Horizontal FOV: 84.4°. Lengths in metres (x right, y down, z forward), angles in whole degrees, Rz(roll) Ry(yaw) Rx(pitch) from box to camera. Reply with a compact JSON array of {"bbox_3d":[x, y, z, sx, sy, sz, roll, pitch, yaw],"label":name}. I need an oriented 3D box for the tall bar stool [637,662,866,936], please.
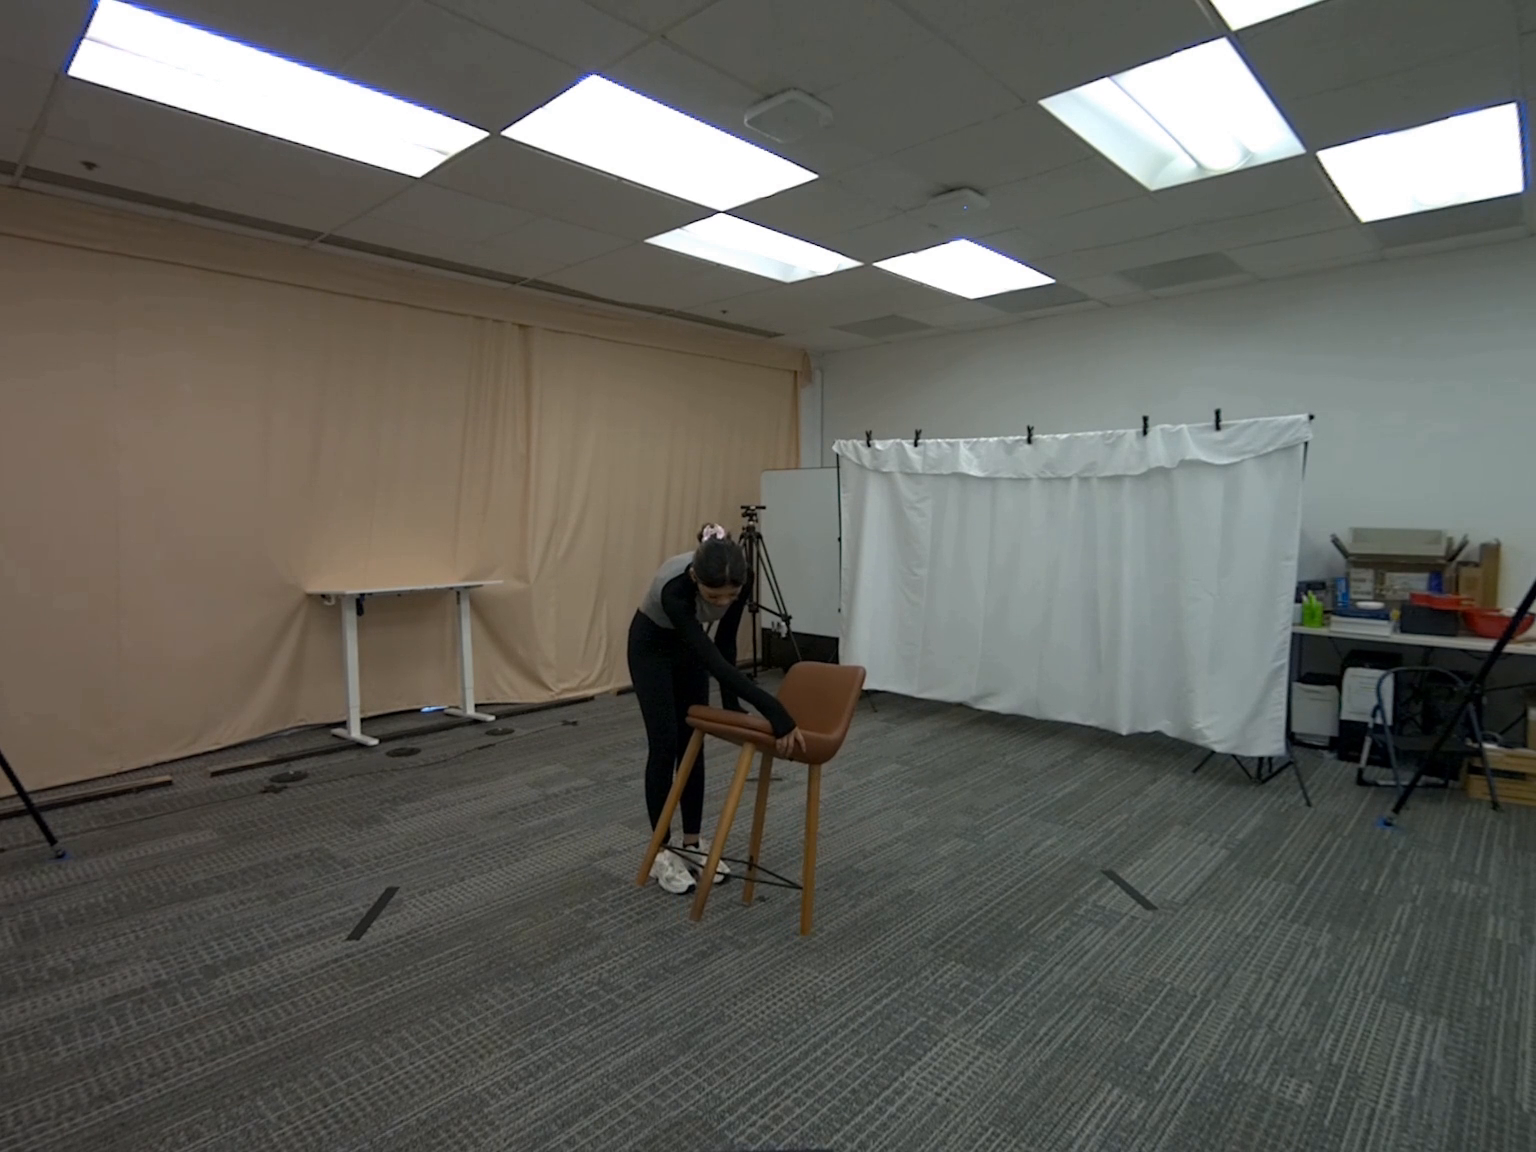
[{"bbox_3d":[-0.038,0.668,2.786,0.453,0.893,0.469,22,-14,-29],"label":"tall bar stool"}]
